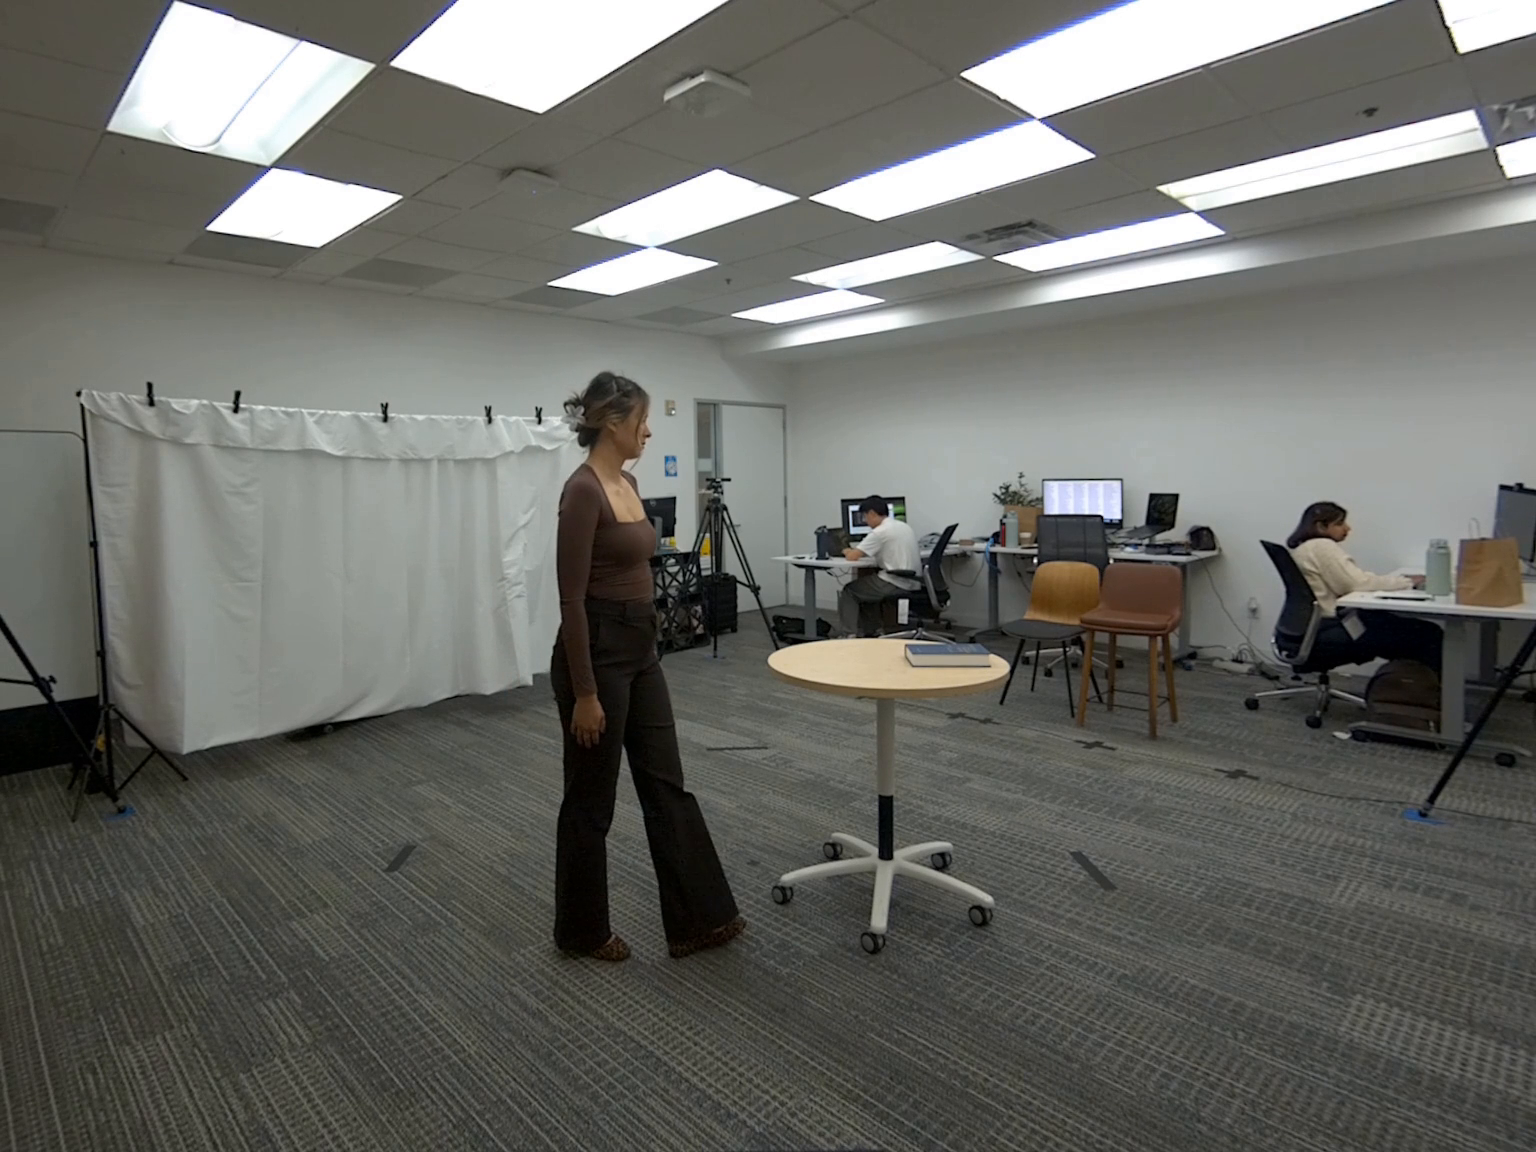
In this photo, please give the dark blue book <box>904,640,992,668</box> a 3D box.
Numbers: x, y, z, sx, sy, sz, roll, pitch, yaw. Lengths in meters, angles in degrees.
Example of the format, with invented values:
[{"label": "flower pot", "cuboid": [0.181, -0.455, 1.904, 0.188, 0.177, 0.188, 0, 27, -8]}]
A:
[{"label": "dark blue book", "cuboid": [0.587, 0.254, 2.747, 0.246, 0.045, 0.164, -1, 7, 2]}]
